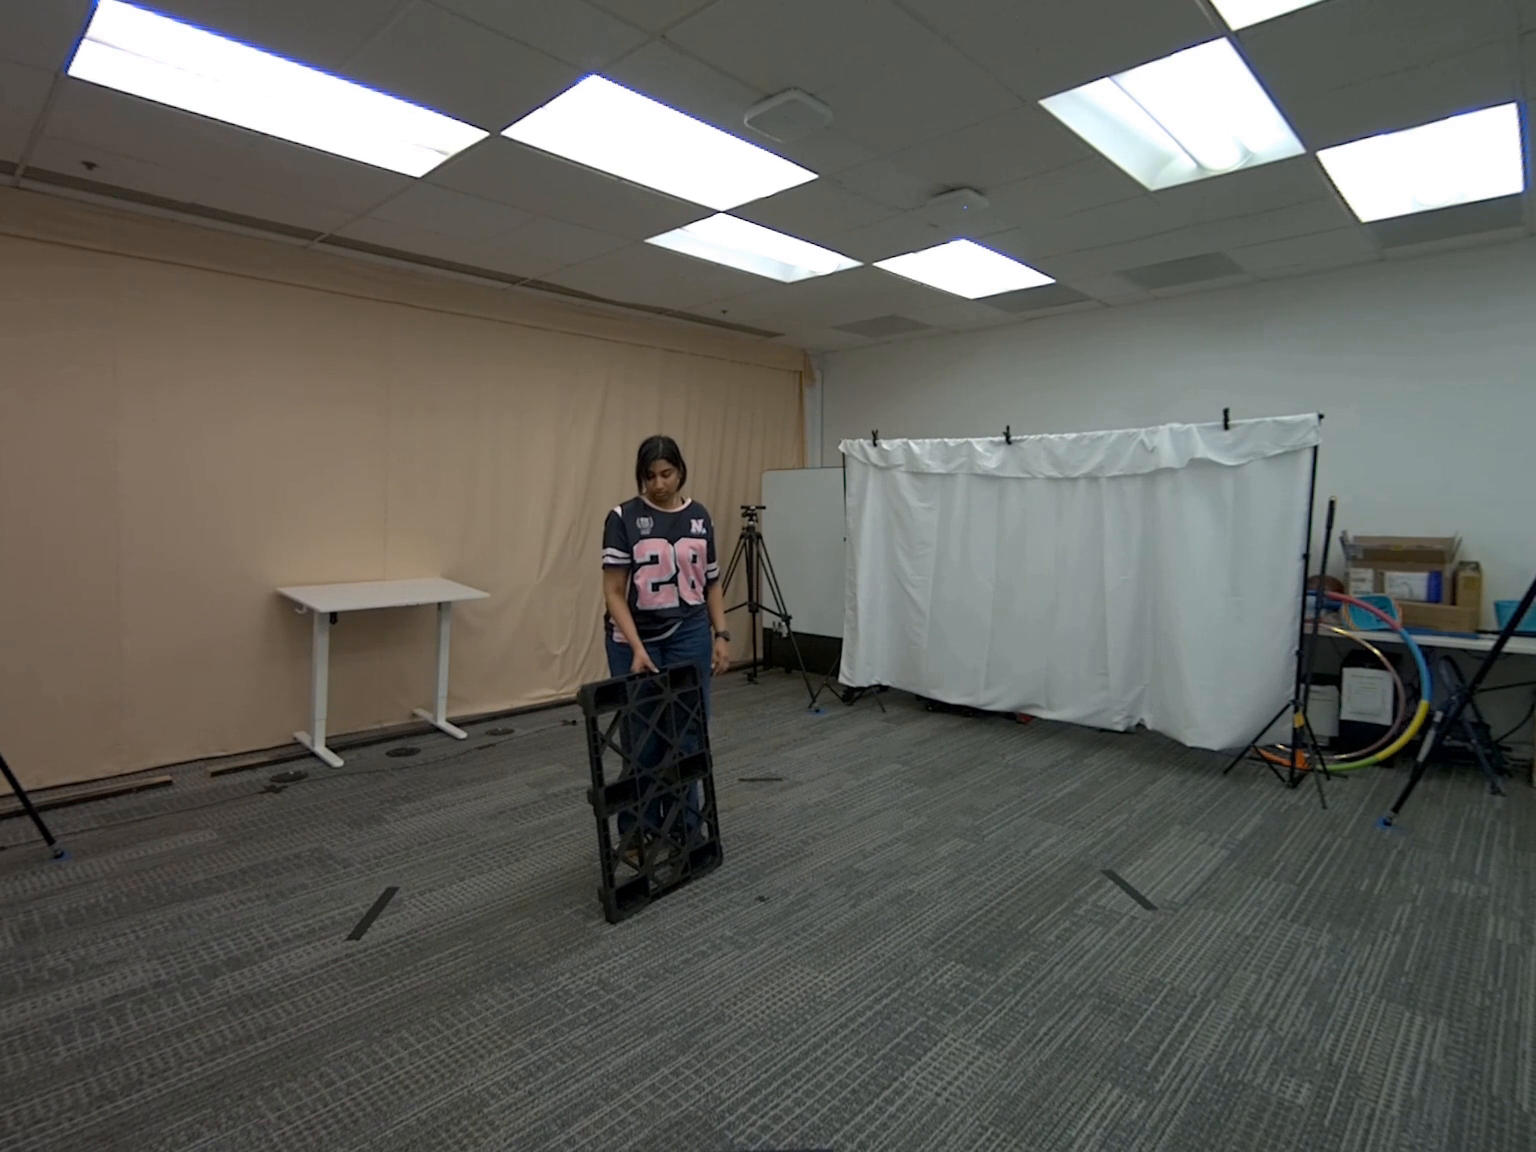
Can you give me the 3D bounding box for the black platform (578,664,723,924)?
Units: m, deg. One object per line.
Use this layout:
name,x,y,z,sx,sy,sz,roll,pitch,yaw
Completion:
black platform,-0.442,0.750,3.078,0.147,0.807,0.587,-8,-2,38
